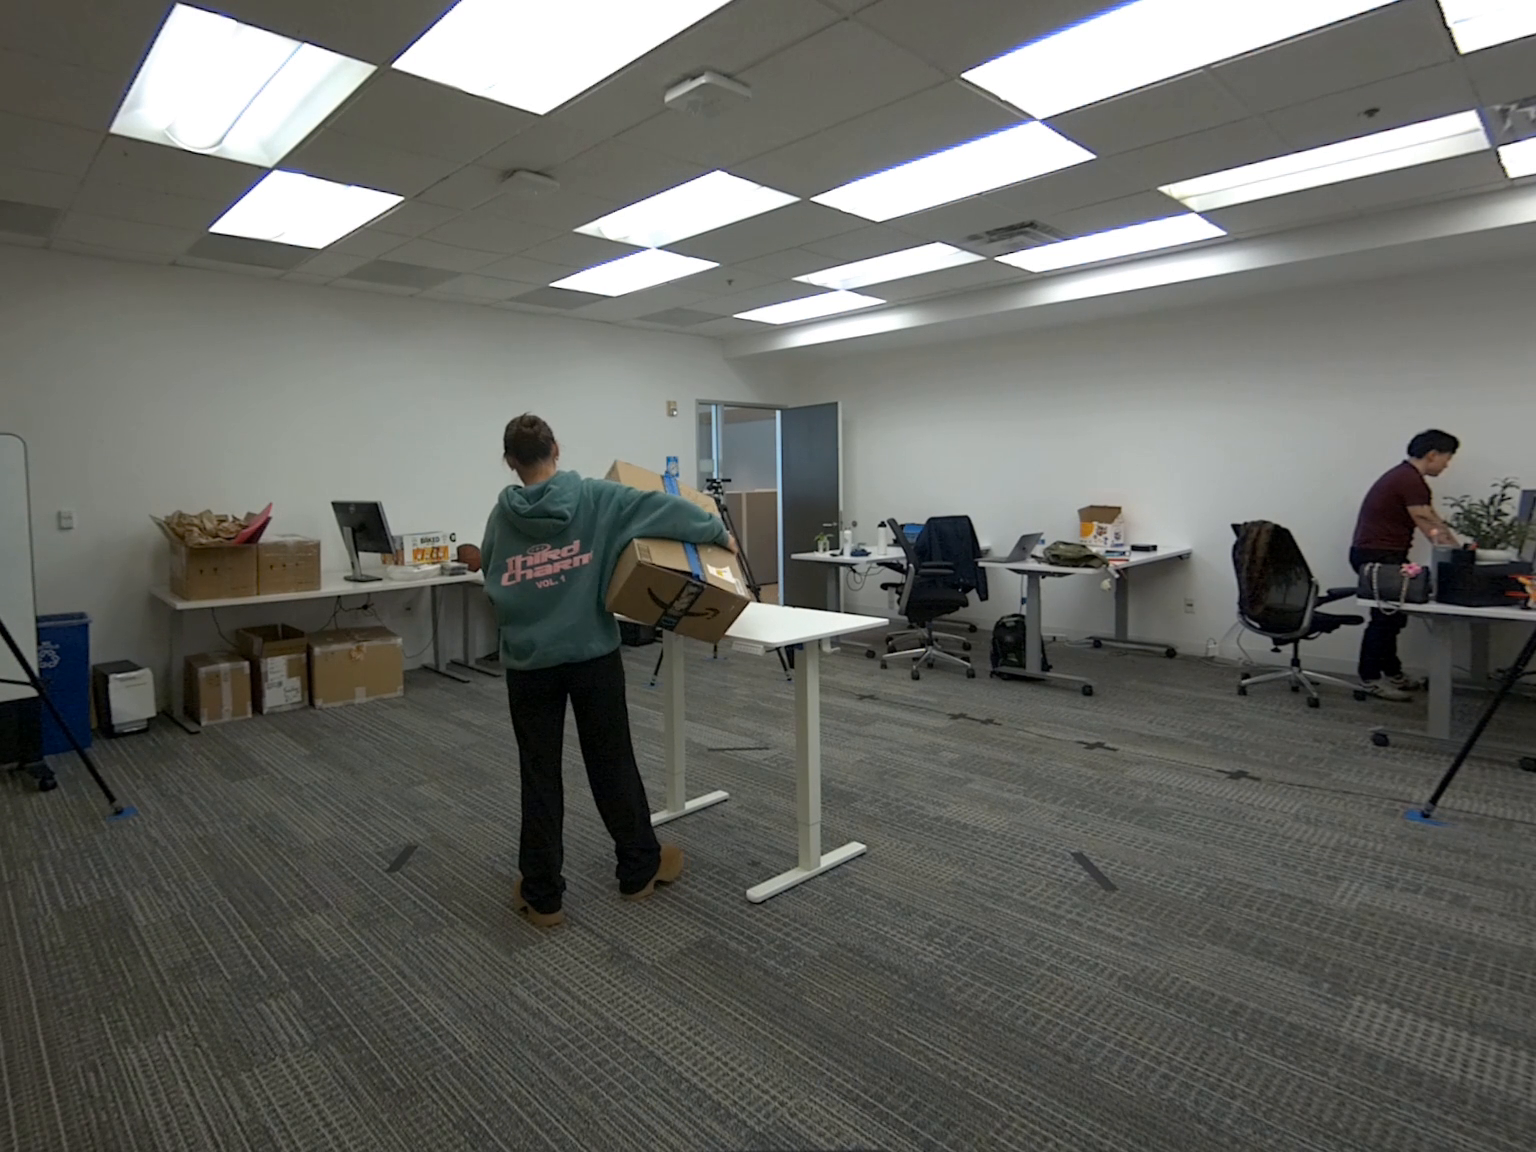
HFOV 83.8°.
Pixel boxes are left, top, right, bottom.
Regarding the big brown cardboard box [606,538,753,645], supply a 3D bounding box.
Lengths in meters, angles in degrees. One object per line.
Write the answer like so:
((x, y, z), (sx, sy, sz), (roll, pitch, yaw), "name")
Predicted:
((-0.344, -0.086, 2.882), (0.405, 0.232, 0.610), (20, 28, -30), "big brown cardboard box")
